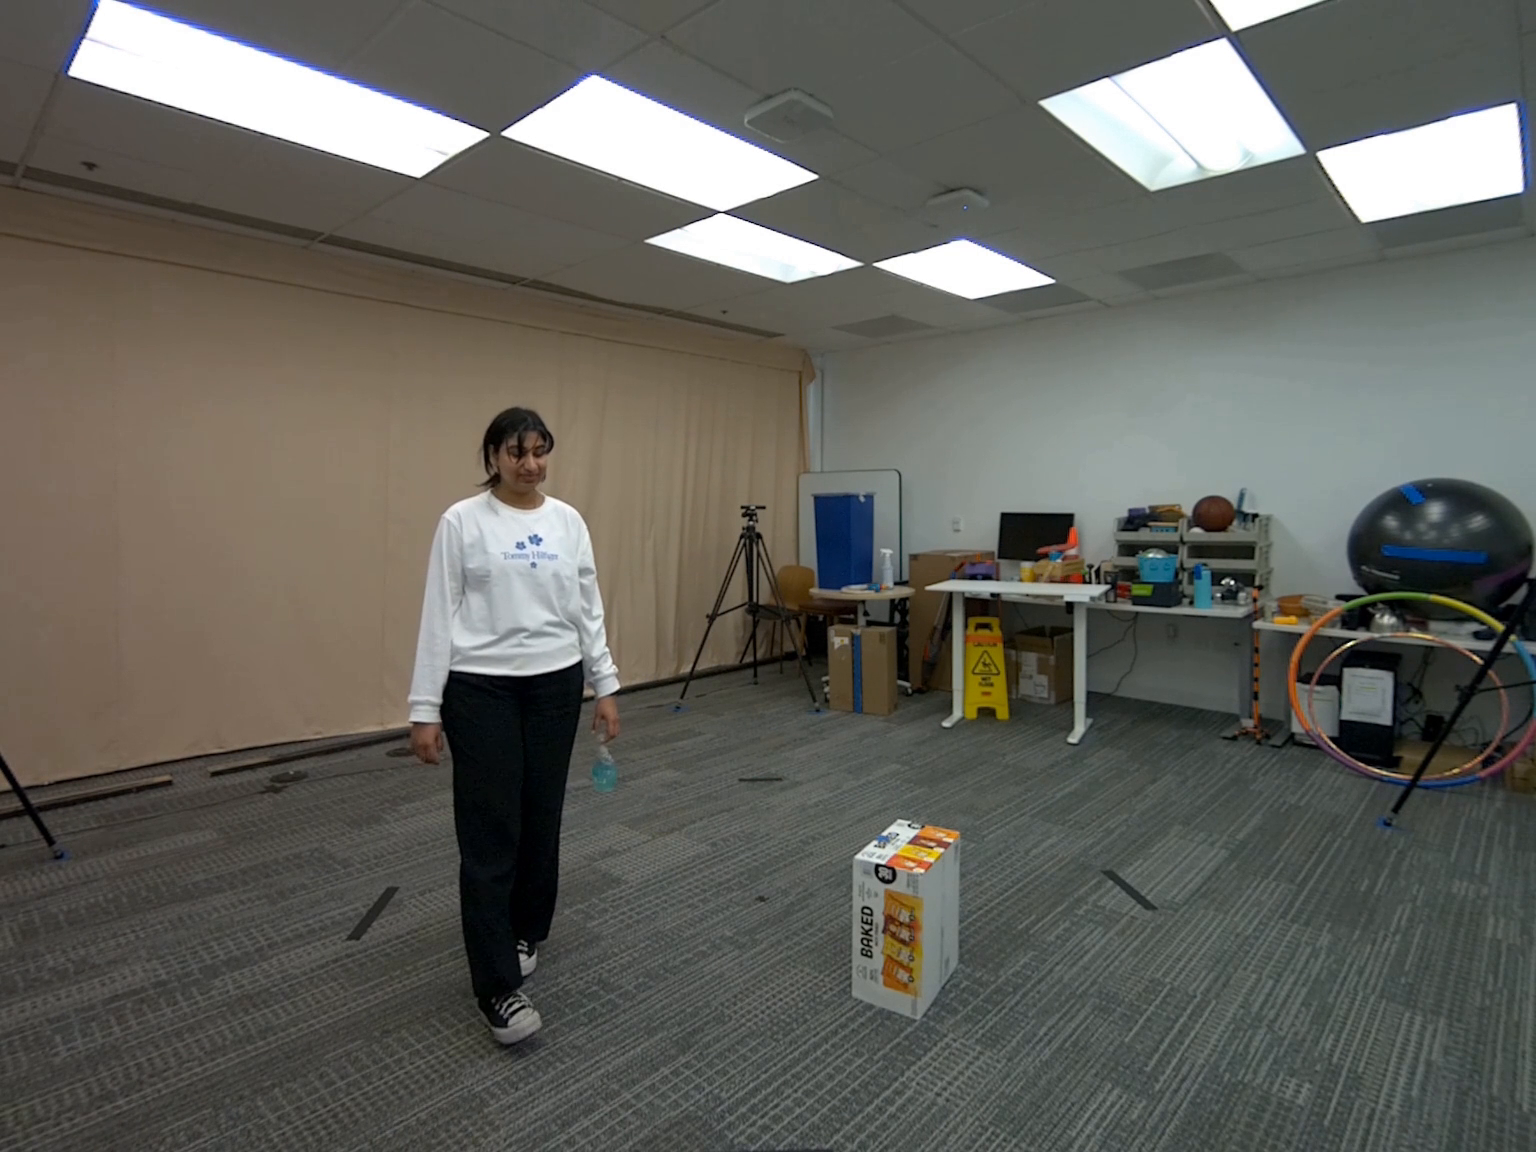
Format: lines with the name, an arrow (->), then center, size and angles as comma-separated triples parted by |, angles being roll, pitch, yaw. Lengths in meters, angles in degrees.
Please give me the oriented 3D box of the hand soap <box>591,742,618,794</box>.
hand soap -> -0.508, 0.571, 2.565 | 0.086, 0.168, 0.043 | -2, 2, 16
